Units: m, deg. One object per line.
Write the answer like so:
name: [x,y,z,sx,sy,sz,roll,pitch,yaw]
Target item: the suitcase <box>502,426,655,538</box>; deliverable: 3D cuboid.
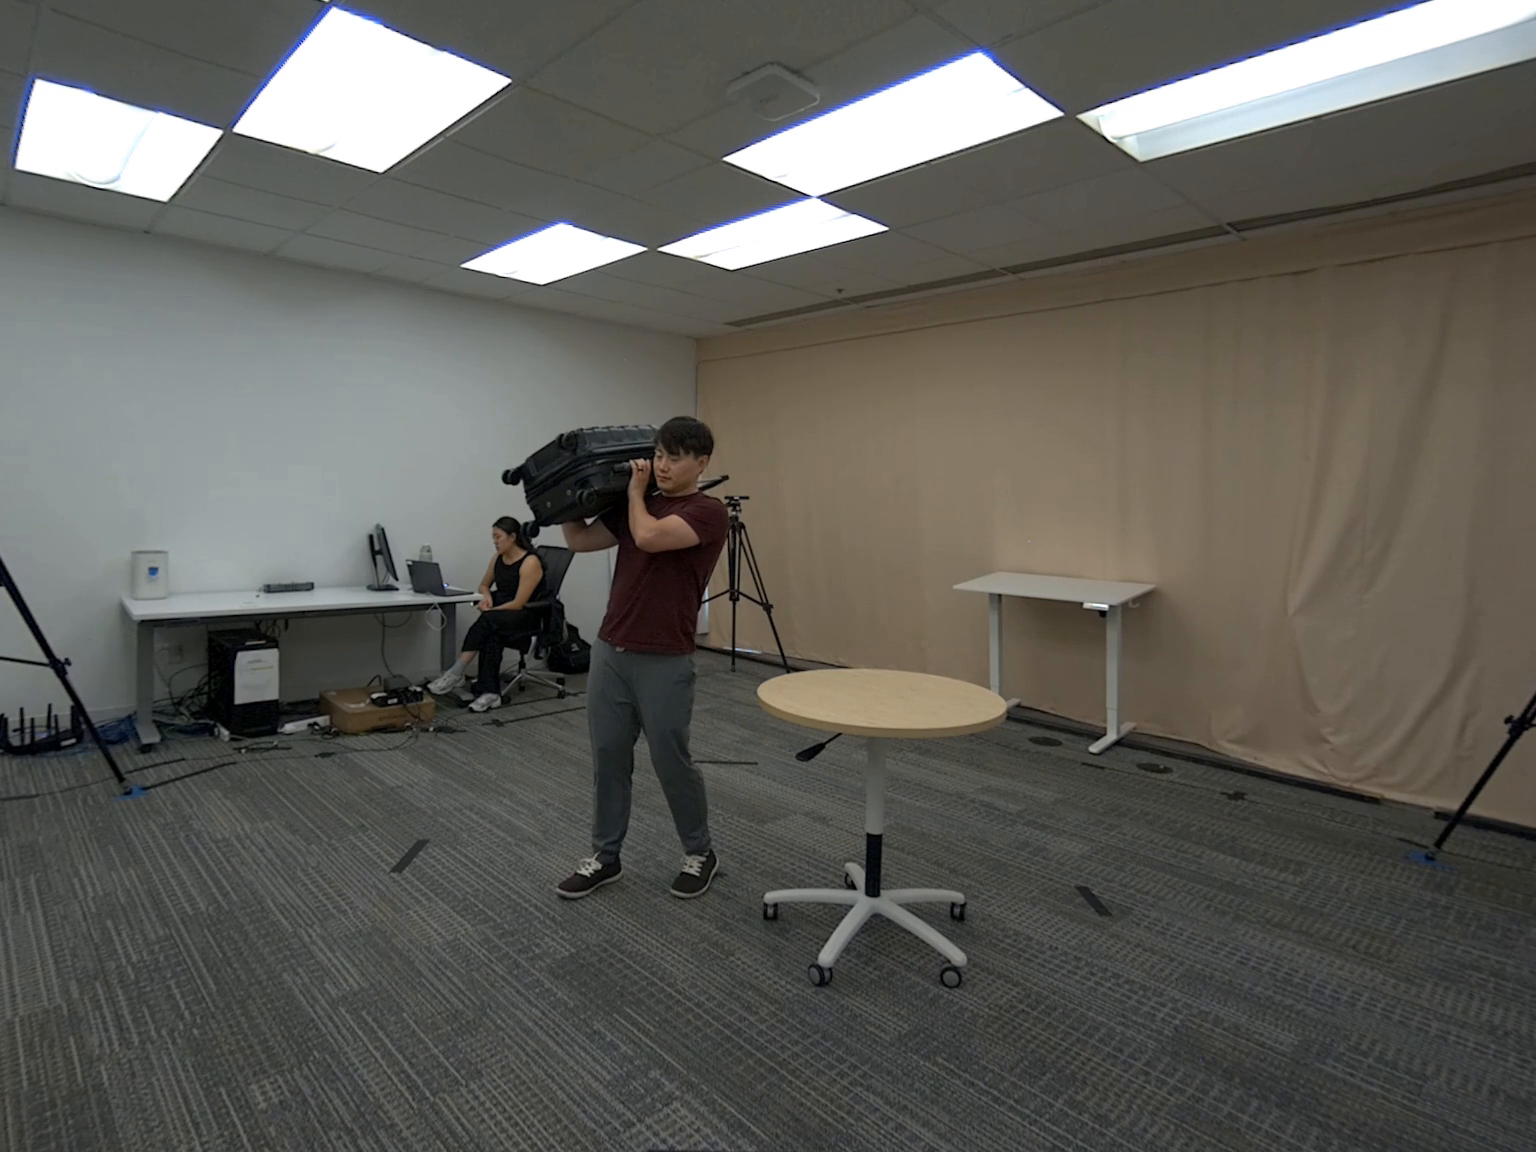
suitcase: [-0.514,-0.405,3.191,0.388,0.258,0.965,-24,-1,33]
